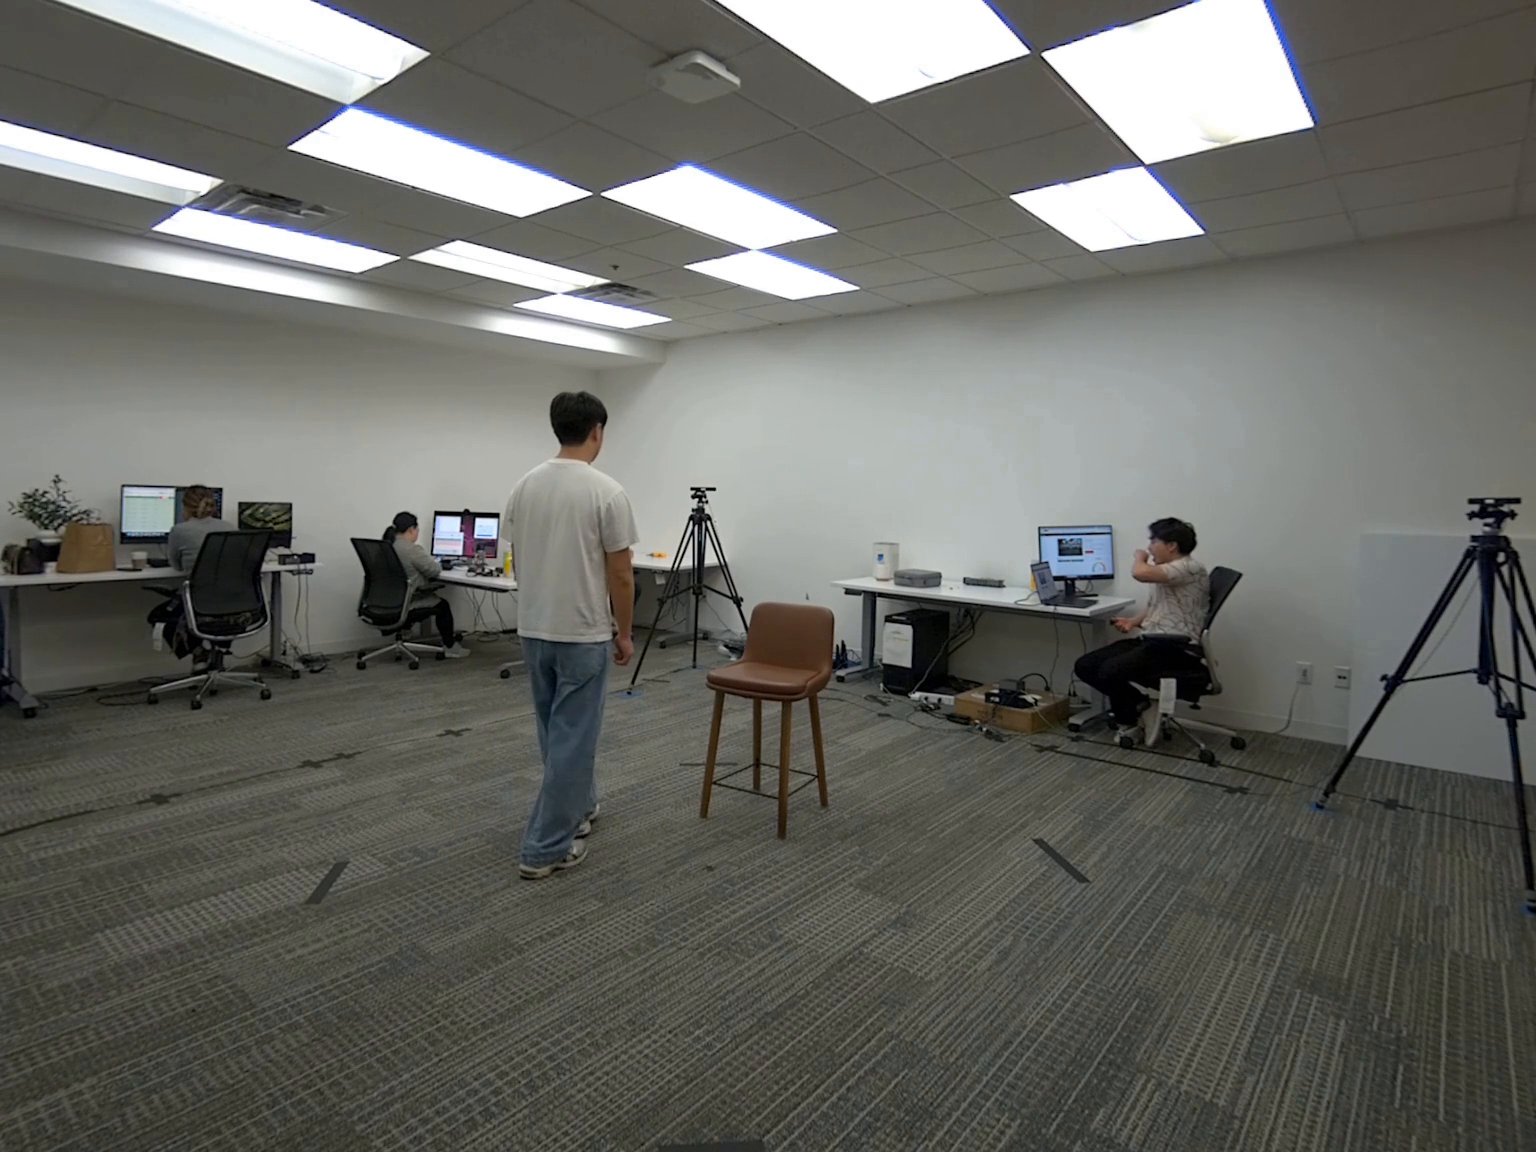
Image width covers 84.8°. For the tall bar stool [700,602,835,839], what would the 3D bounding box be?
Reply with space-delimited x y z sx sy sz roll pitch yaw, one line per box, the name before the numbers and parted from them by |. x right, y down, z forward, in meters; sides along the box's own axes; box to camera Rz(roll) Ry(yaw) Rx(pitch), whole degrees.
tall bar stool | -0.009 0.581 3.659 0.471 0.889 0.454 4 2 32
